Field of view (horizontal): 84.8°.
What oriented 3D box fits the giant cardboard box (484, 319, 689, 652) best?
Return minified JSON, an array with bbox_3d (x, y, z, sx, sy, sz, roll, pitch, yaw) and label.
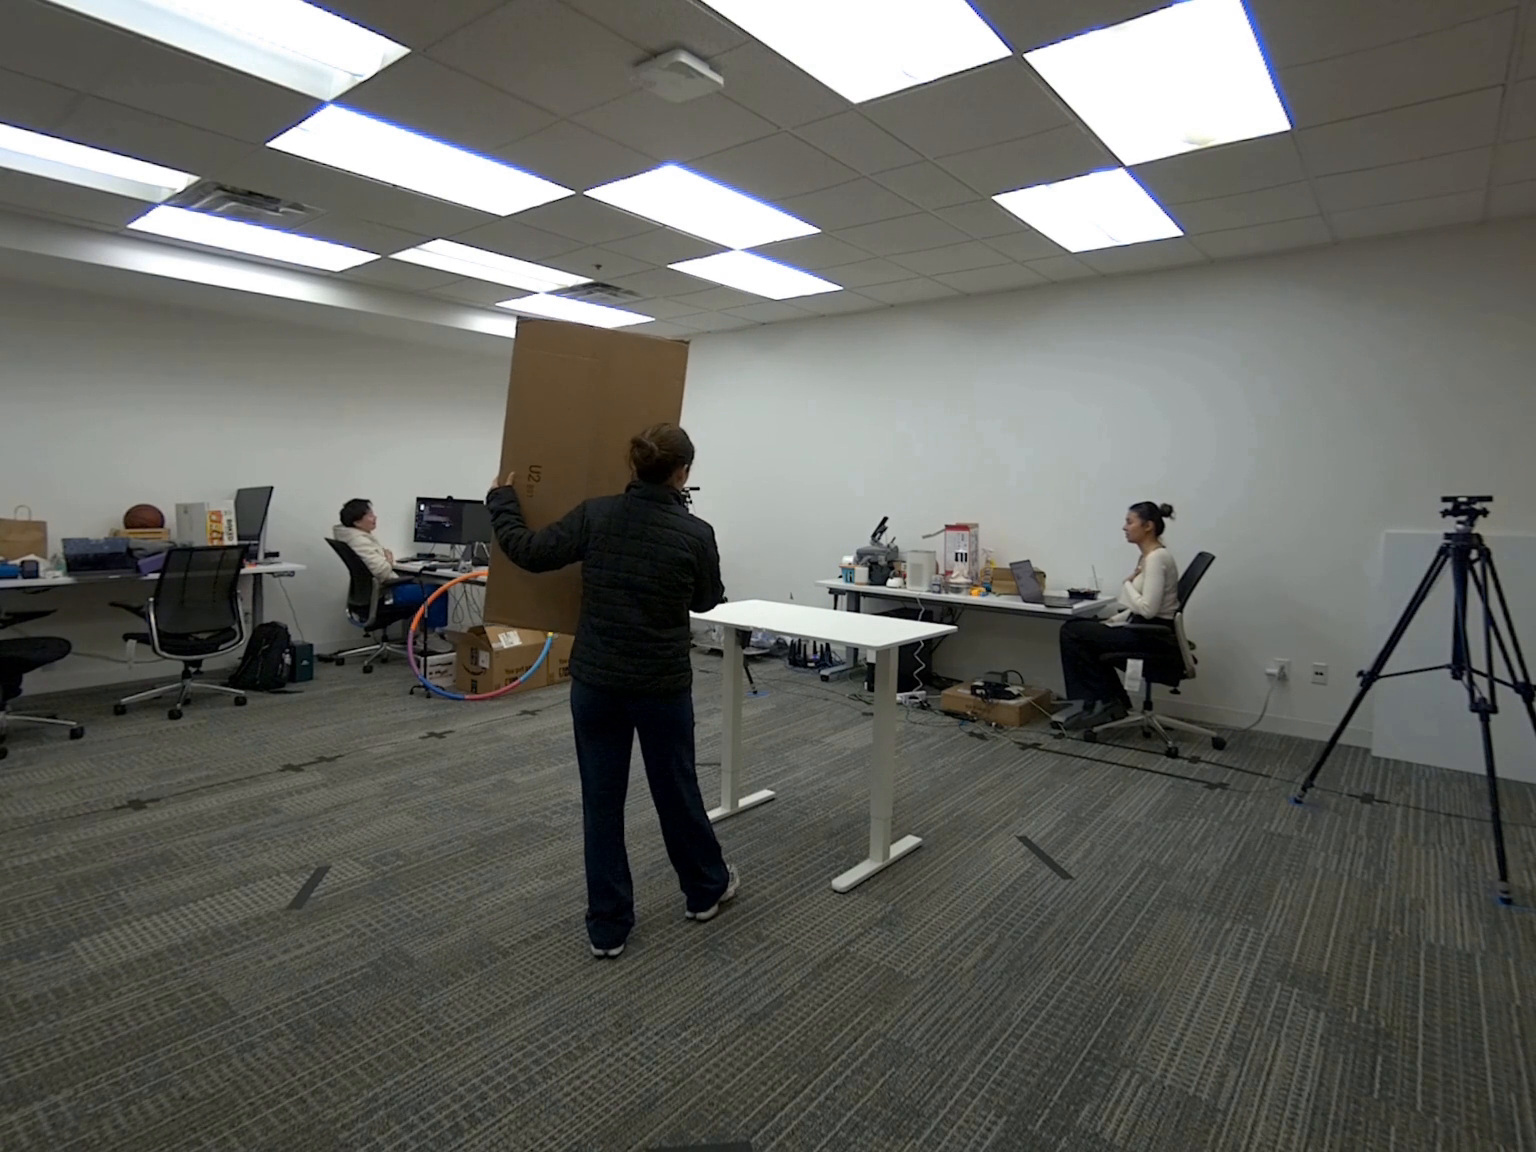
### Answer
[{"bbox_3d":[-0.613,-0.331,3.028,0.573,1.023,0.431,7,3,-8],"label":"giant cardboard box"}]
